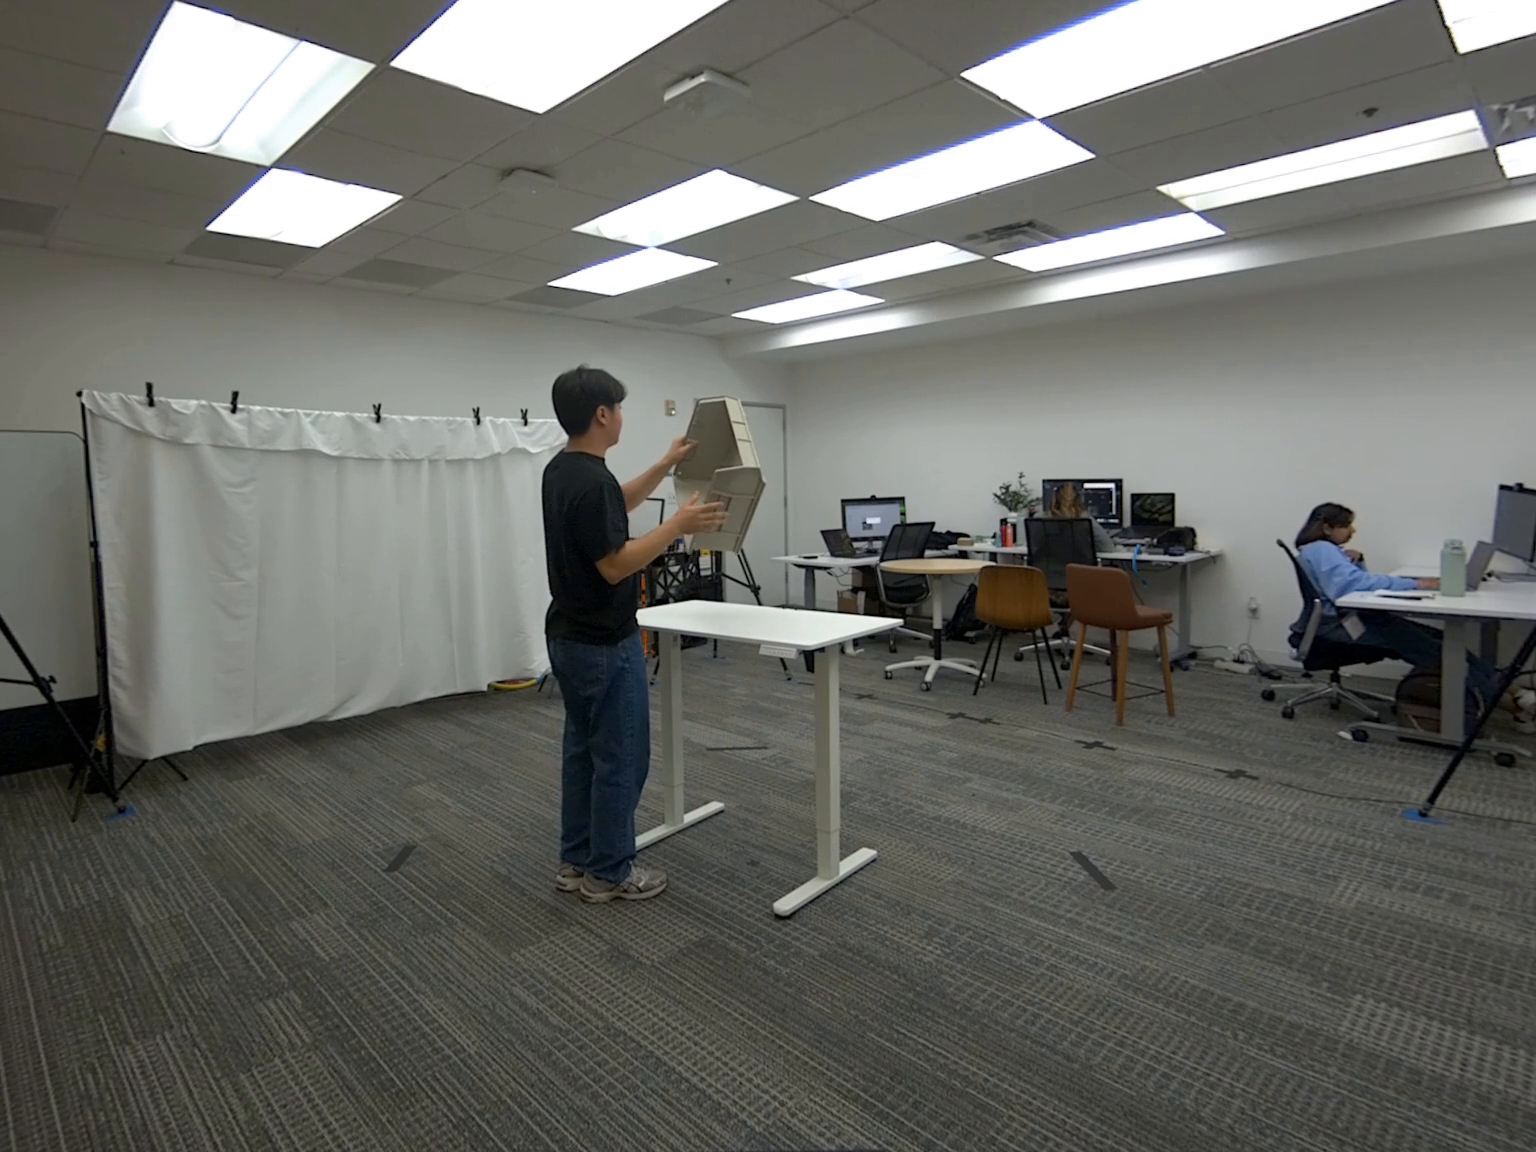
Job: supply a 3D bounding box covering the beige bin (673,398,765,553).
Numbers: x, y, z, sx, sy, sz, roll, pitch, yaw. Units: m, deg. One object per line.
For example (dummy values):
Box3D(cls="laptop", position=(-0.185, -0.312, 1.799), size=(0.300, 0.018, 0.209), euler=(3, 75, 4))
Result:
Box3D(cls="beige bin", position=(-0.173, -0.342, 2.919), size=(0.185, 0.372, 0.437), euler=(5, 41, -20))
